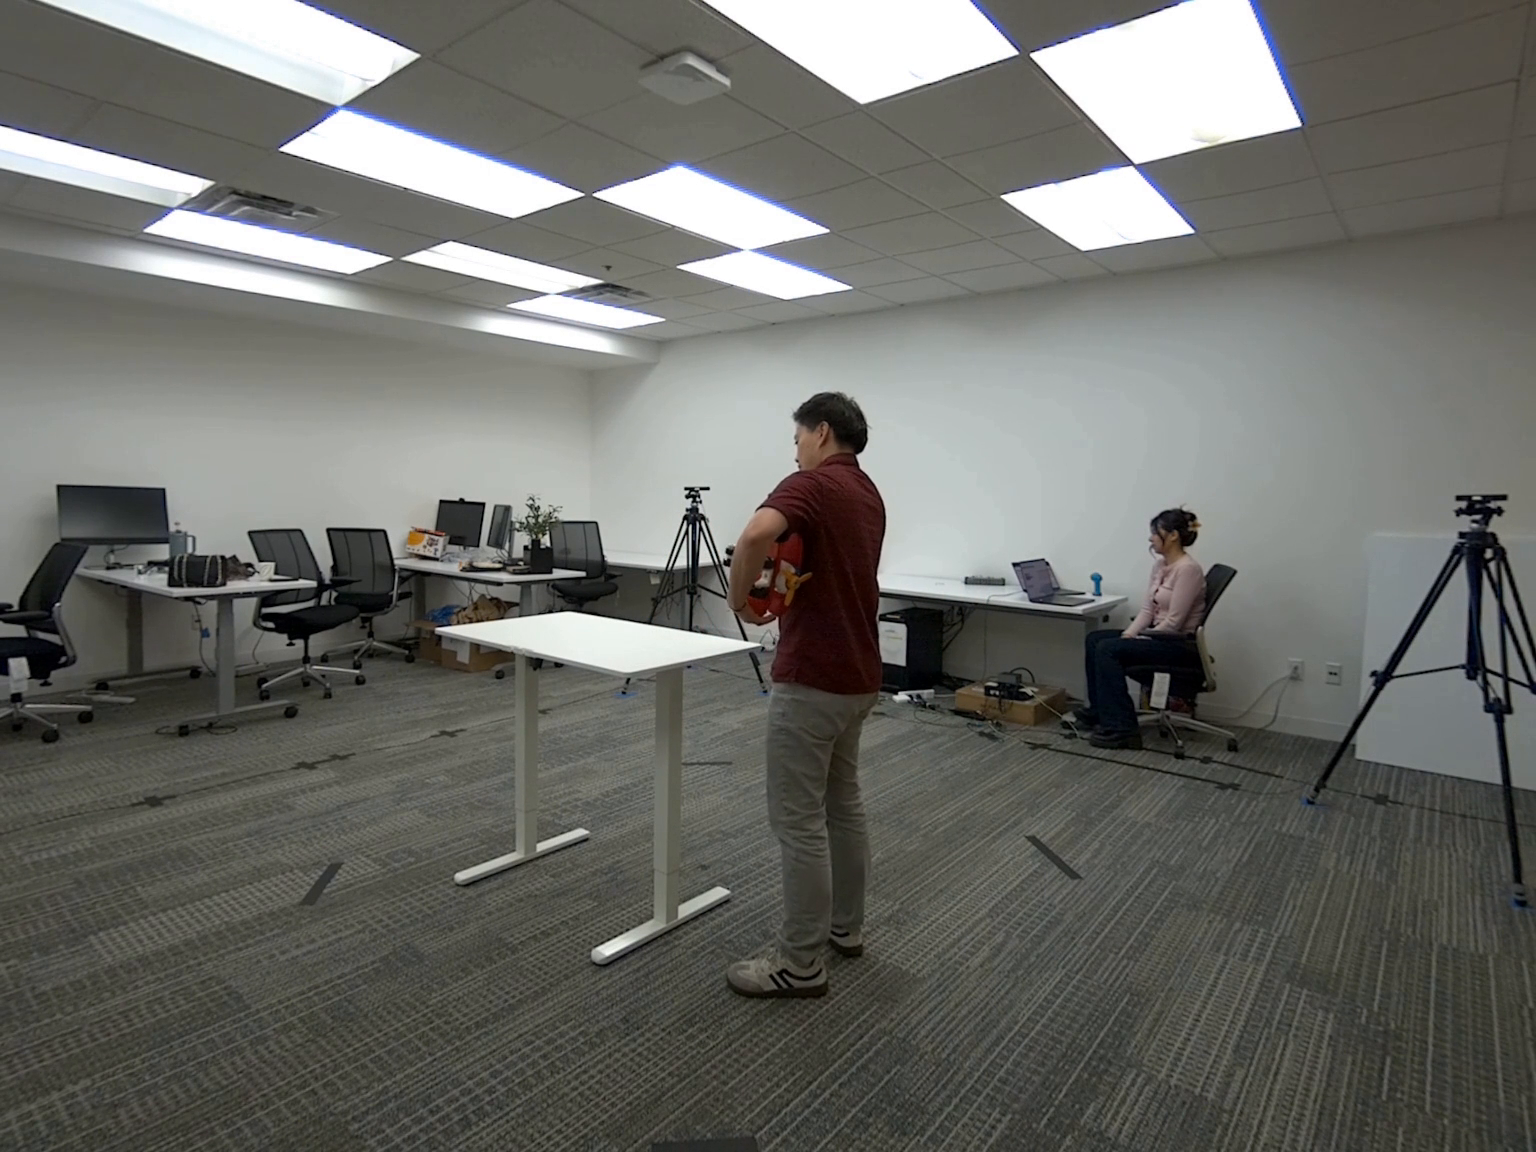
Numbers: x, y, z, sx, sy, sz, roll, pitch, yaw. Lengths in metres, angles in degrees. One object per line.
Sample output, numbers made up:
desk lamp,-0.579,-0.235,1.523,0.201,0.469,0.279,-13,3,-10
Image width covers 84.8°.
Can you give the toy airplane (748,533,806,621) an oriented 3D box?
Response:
toy airplane,-0.021,-0.042,2.399,0.151,0.249,0.269,9,42,-33
